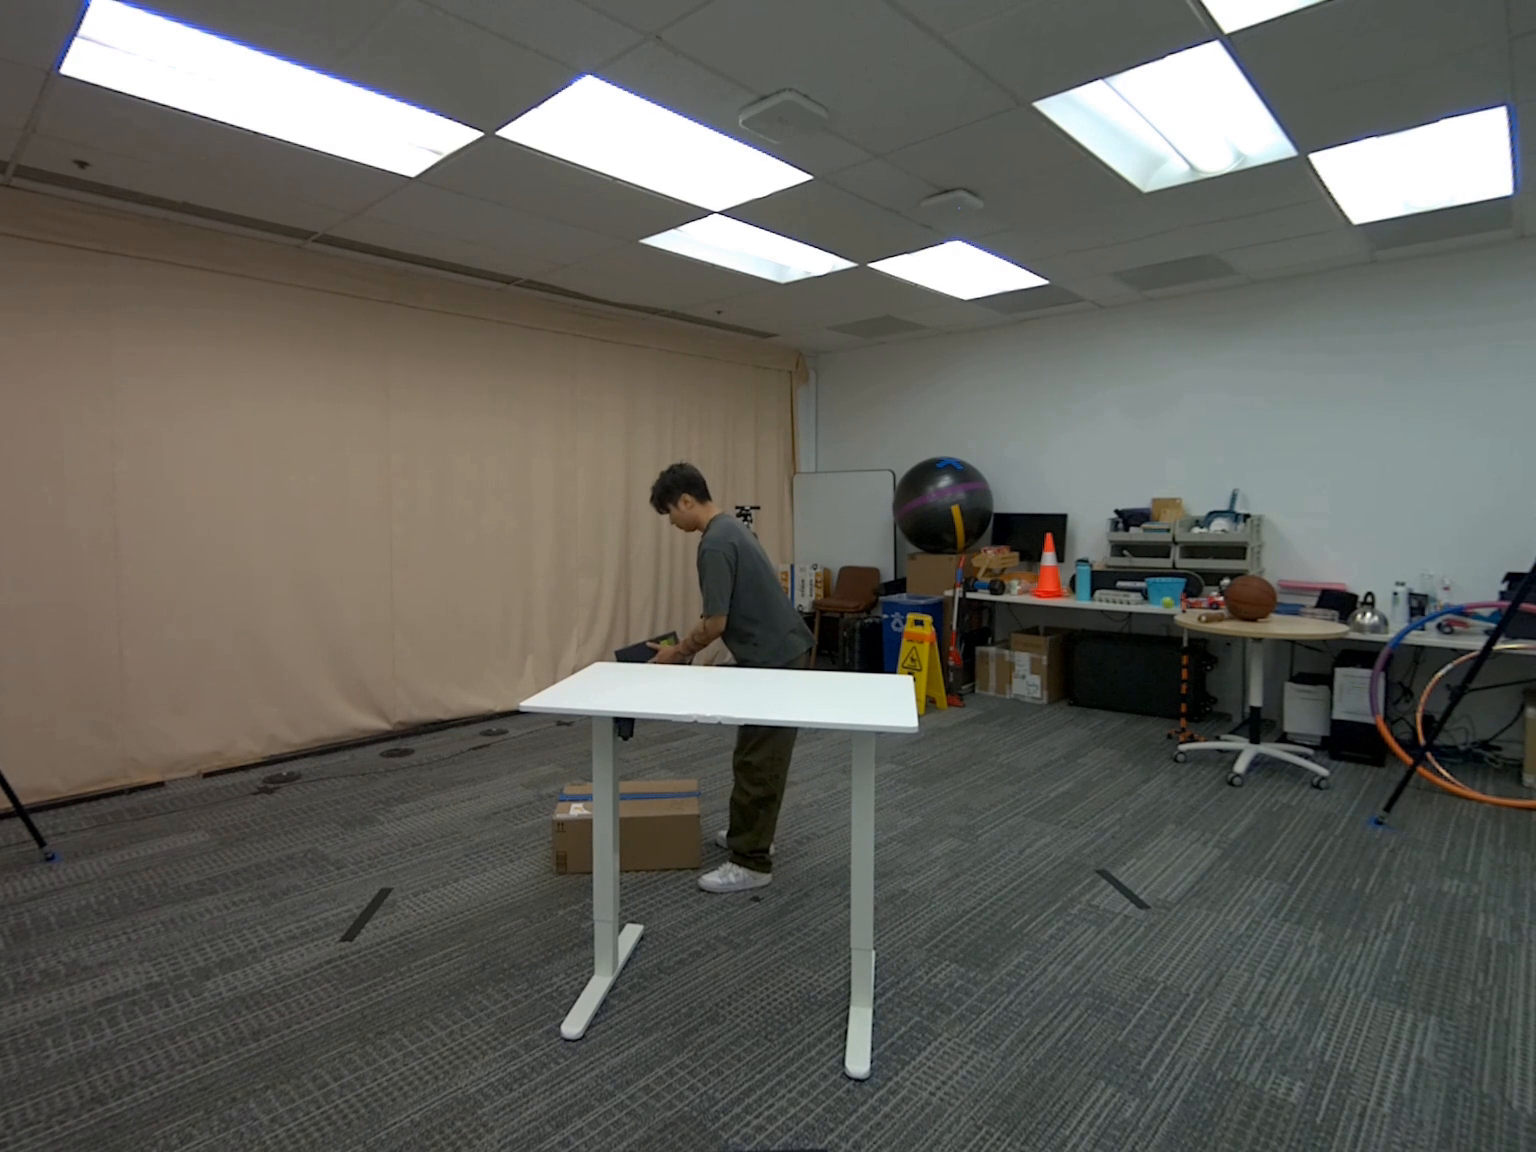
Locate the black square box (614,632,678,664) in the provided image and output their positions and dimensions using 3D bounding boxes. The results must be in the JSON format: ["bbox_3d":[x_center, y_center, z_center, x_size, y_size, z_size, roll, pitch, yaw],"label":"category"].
[{"bbox_3d":[-0.466,0.329,3.358,0.218,0.156,0.226,-17,-2,5],"label":"black square box"}]
